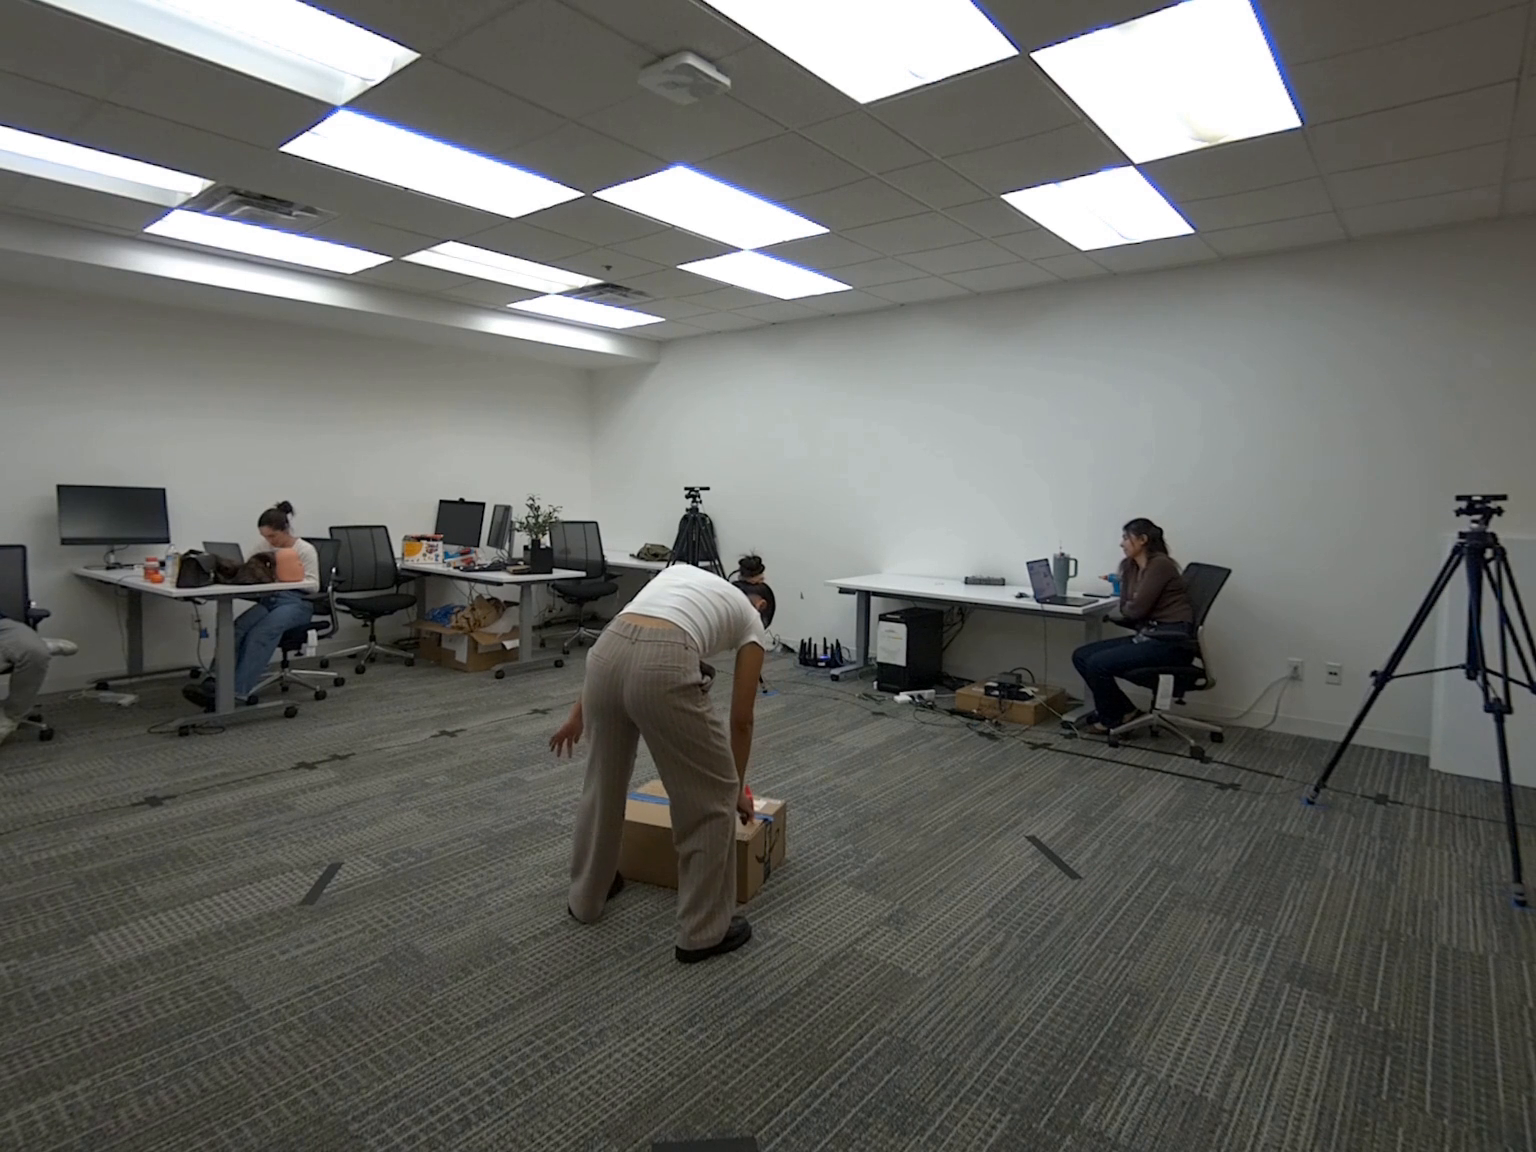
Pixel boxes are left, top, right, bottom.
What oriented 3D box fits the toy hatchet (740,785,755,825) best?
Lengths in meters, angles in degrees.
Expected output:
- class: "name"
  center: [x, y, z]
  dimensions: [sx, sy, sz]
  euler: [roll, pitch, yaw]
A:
- class: "toy hatchet"
  center: [-0.085, 0.808, 2.873]
  dimensions: [0.030, 0.130, 0.270]
  euler: [-8, 9, 7]
